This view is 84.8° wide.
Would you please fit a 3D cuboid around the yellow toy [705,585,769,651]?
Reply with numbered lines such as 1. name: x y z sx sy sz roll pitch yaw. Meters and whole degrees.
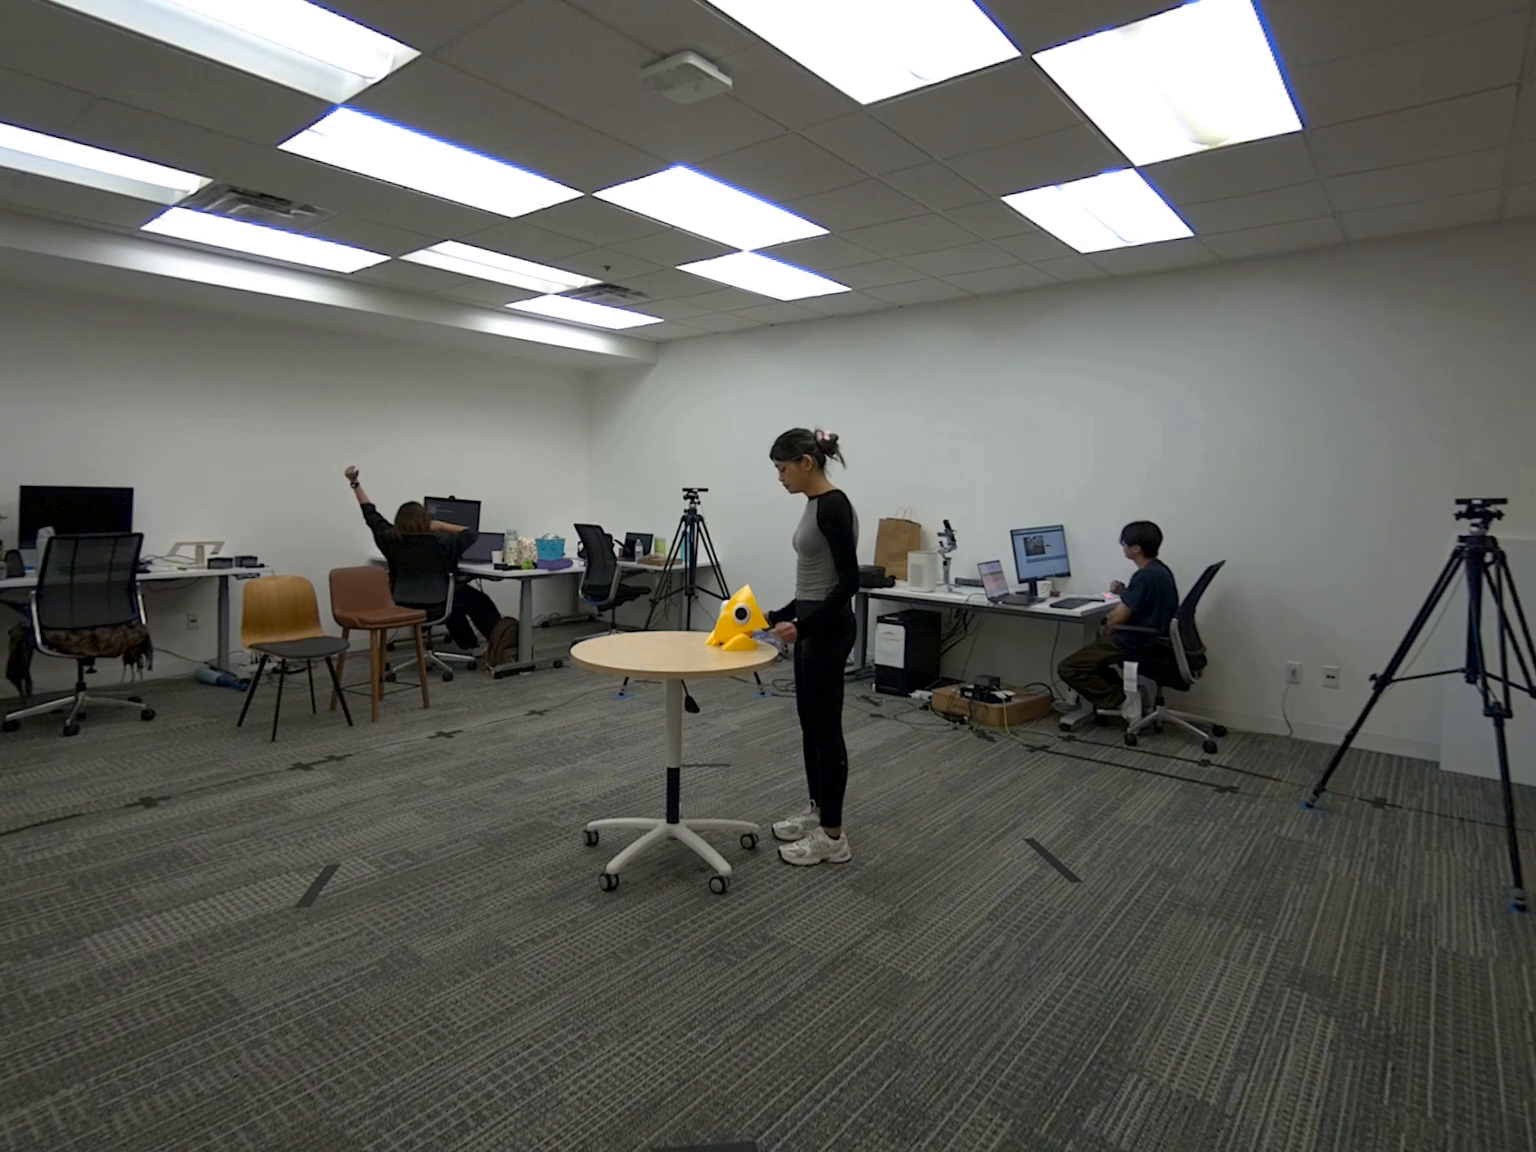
1. yellow toy: -0.137 0.148 3.253 0.188 0.230 0.211 -2 5 -33
